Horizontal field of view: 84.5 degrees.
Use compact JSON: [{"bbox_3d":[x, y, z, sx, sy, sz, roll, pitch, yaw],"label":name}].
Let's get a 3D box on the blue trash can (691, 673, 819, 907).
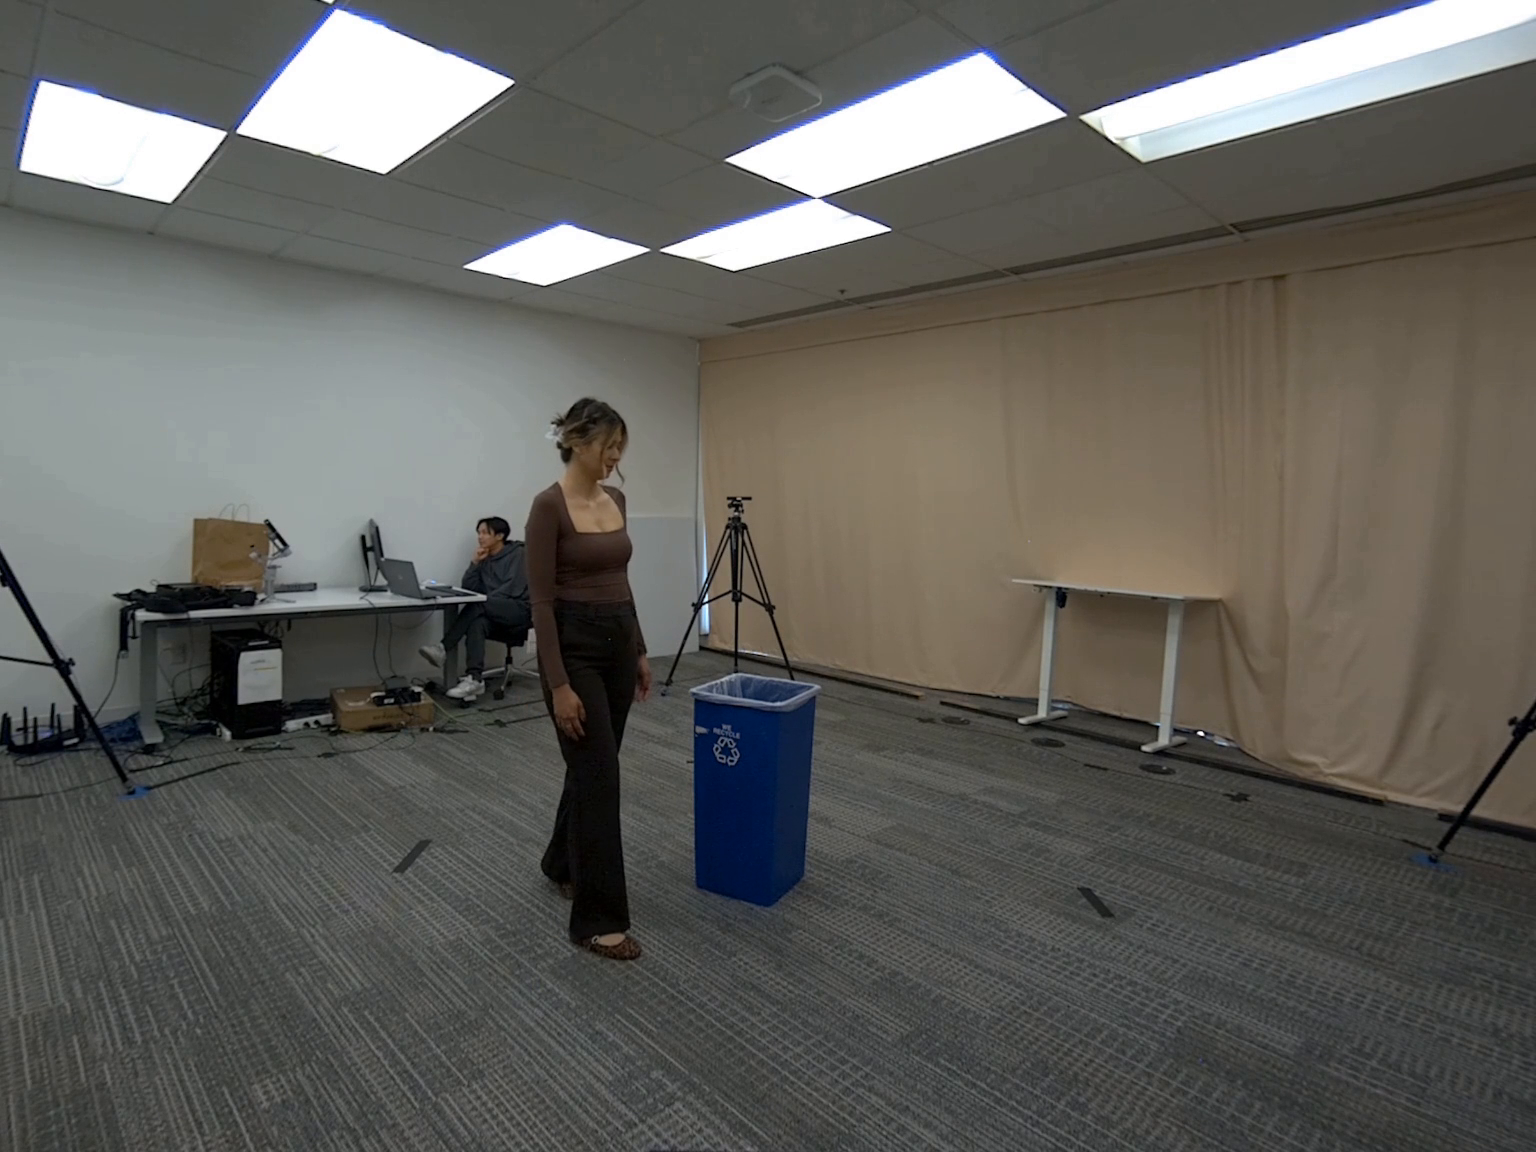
[{"bbox_3d":[-0.052,0.754,3.044,0.382,0.712,0.371,3,4,28],"label":"blue trash can"}]
